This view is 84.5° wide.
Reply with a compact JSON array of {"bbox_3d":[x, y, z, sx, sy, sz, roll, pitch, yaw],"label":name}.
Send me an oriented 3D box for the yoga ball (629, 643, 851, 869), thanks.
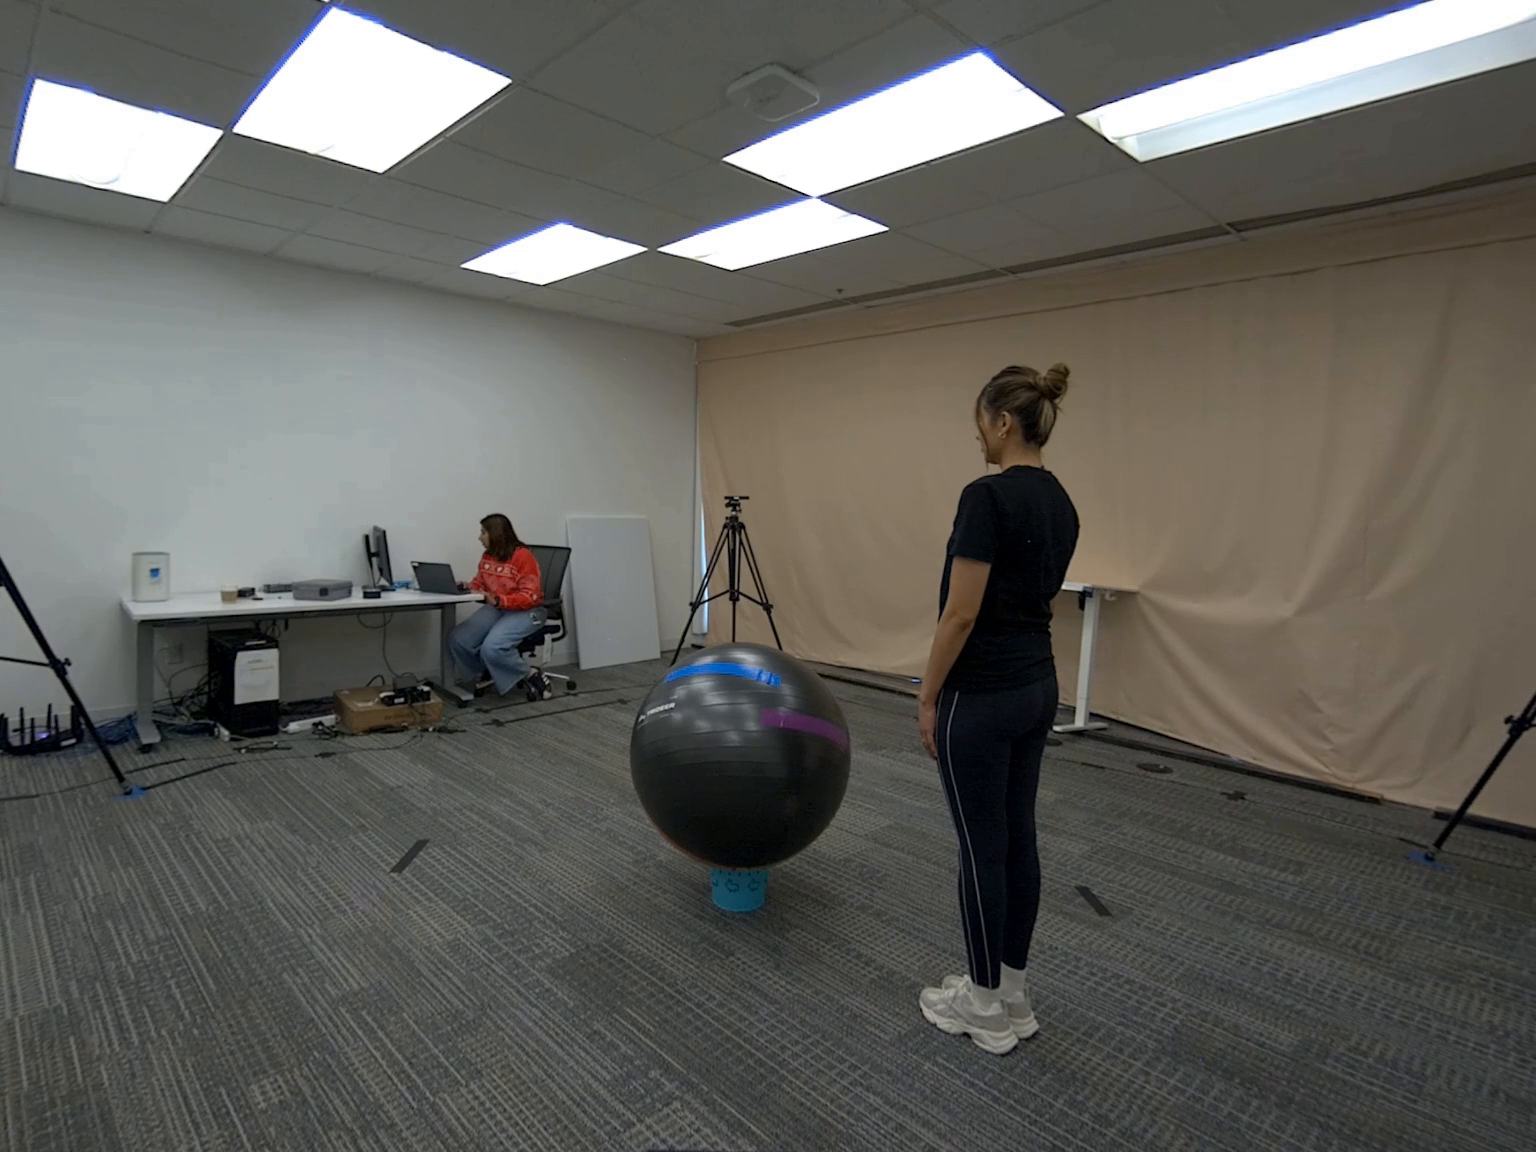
[{"bbox_3d":[-0.095,0.611,2.903,0.757,0.756,0.761,1,4,-1],"label":"yoga ball"}]
